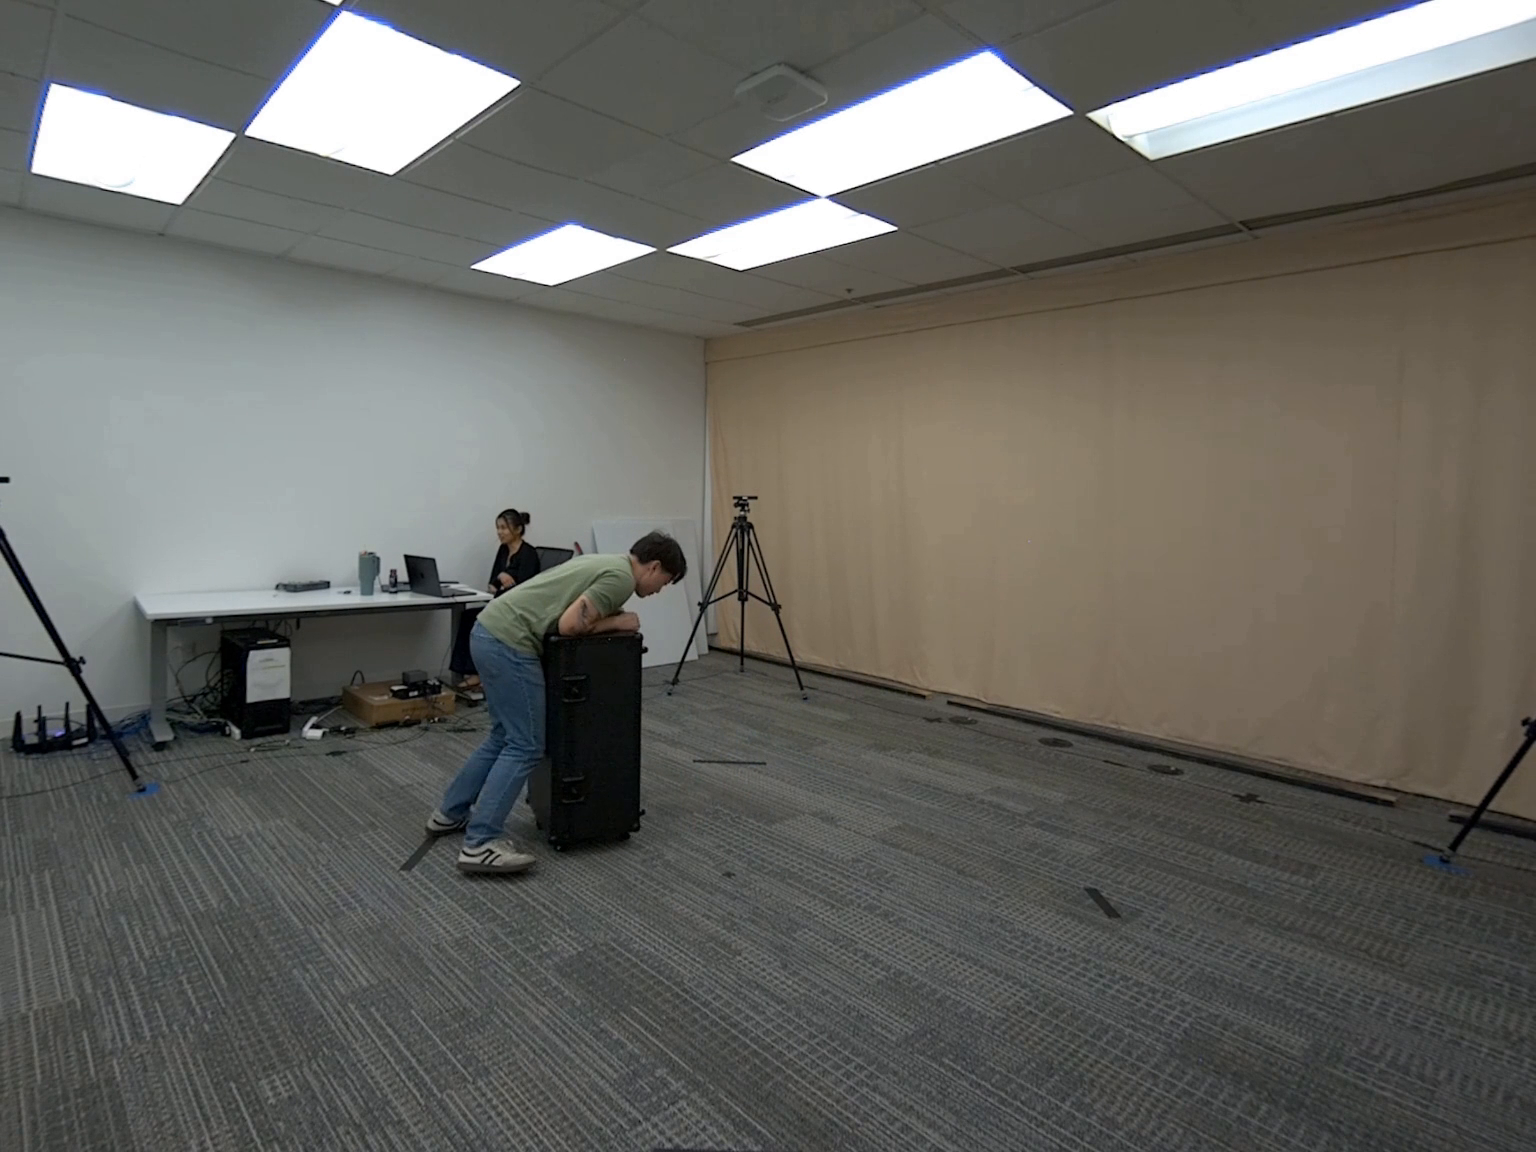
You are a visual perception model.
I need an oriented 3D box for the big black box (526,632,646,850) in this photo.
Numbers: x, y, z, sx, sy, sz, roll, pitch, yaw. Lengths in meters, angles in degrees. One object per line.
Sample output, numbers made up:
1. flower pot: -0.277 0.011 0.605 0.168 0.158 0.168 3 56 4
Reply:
1. big black box: -0.752 0.633 3.449 0.389 0.859 0.532 1 4 -25
